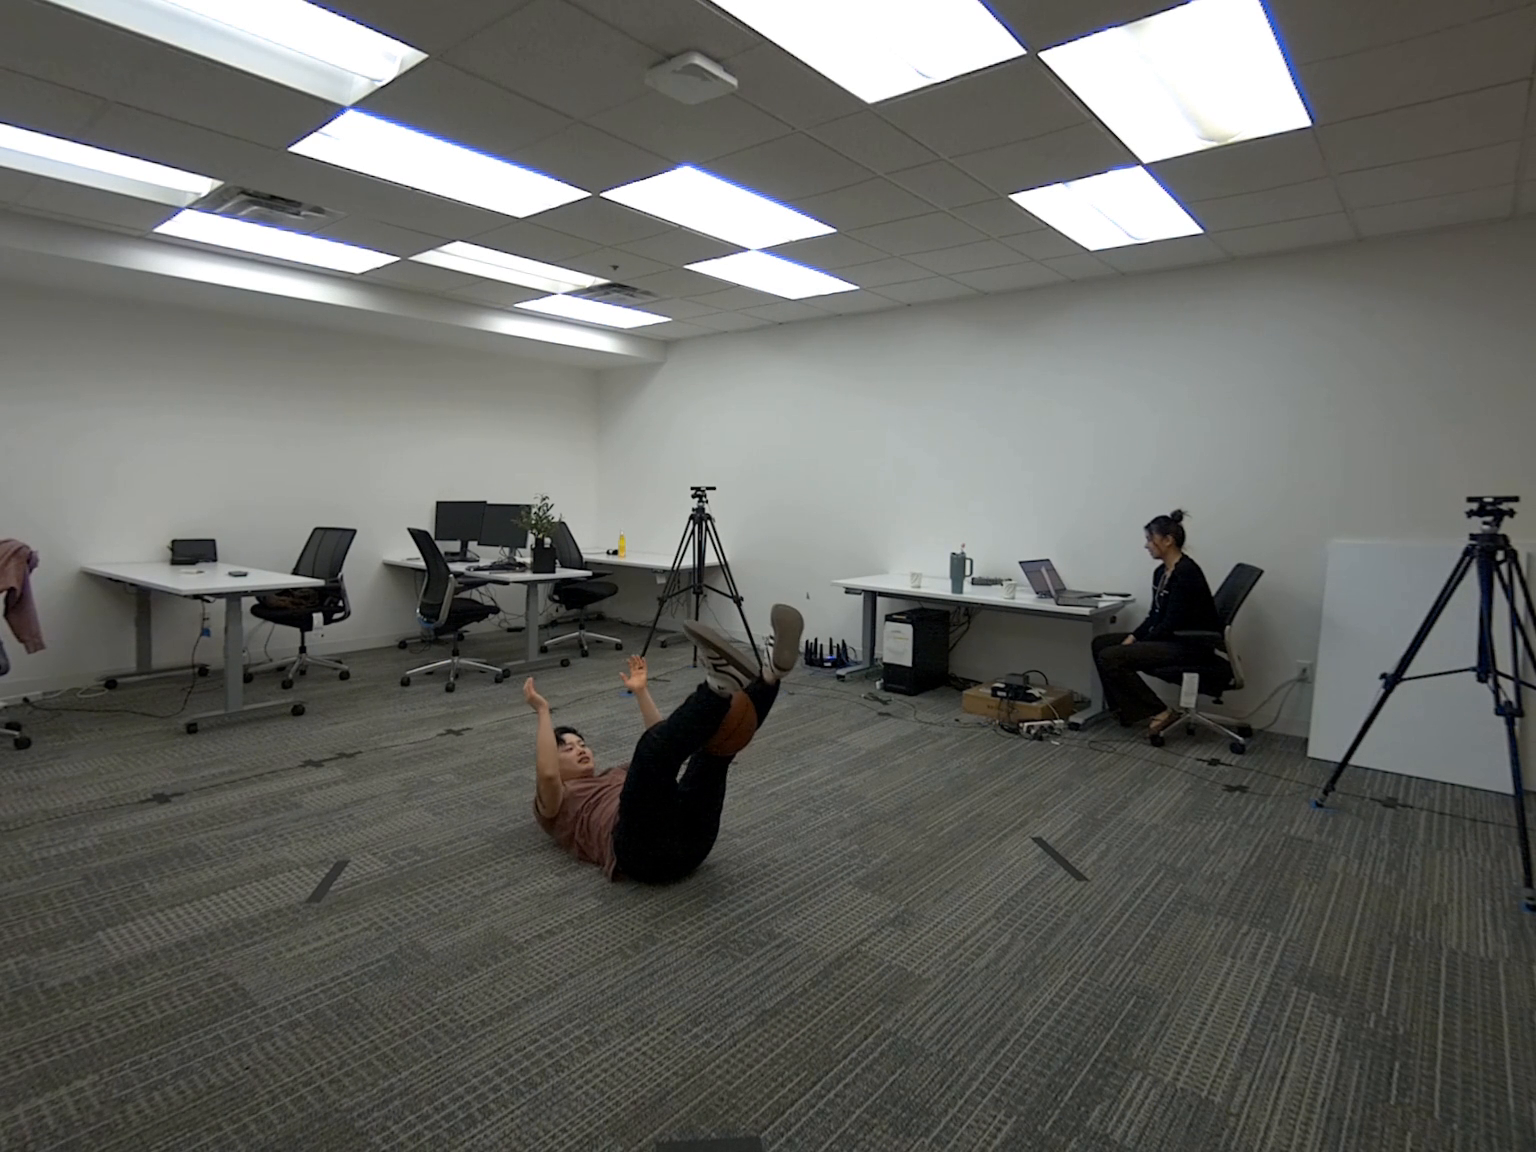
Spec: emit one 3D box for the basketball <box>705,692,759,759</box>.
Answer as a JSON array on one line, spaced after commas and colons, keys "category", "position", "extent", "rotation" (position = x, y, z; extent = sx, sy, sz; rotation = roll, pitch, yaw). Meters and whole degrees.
[{"category": "basketball", "position": [-0.163, 0.488, 2.856], "extent": [0.235, 0.235, 0.237], "rotation": [1, 5, -2]}]
